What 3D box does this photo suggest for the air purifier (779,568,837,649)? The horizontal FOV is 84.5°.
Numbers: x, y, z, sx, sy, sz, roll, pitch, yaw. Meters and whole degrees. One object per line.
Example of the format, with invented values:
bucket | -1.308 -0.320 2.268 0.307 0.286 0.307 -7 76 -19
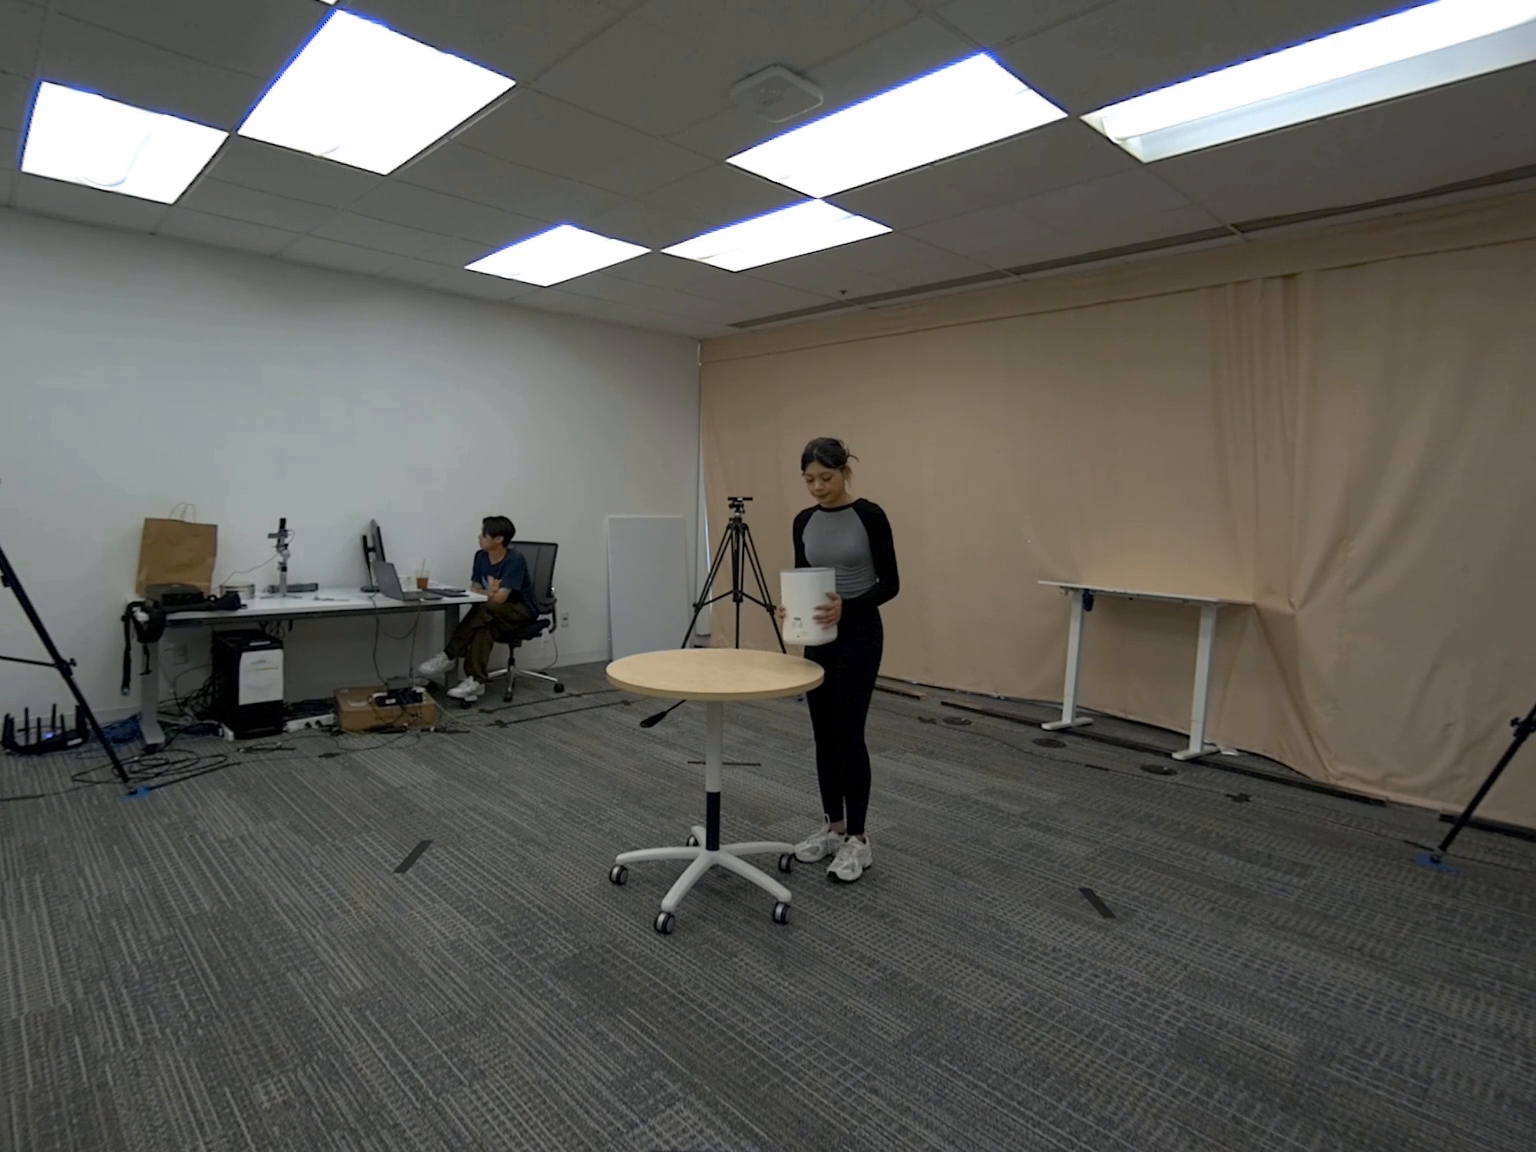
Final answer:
air purifier | 0.139 0.111 3.020 0.175 0.265 0.168 -1 2 32
